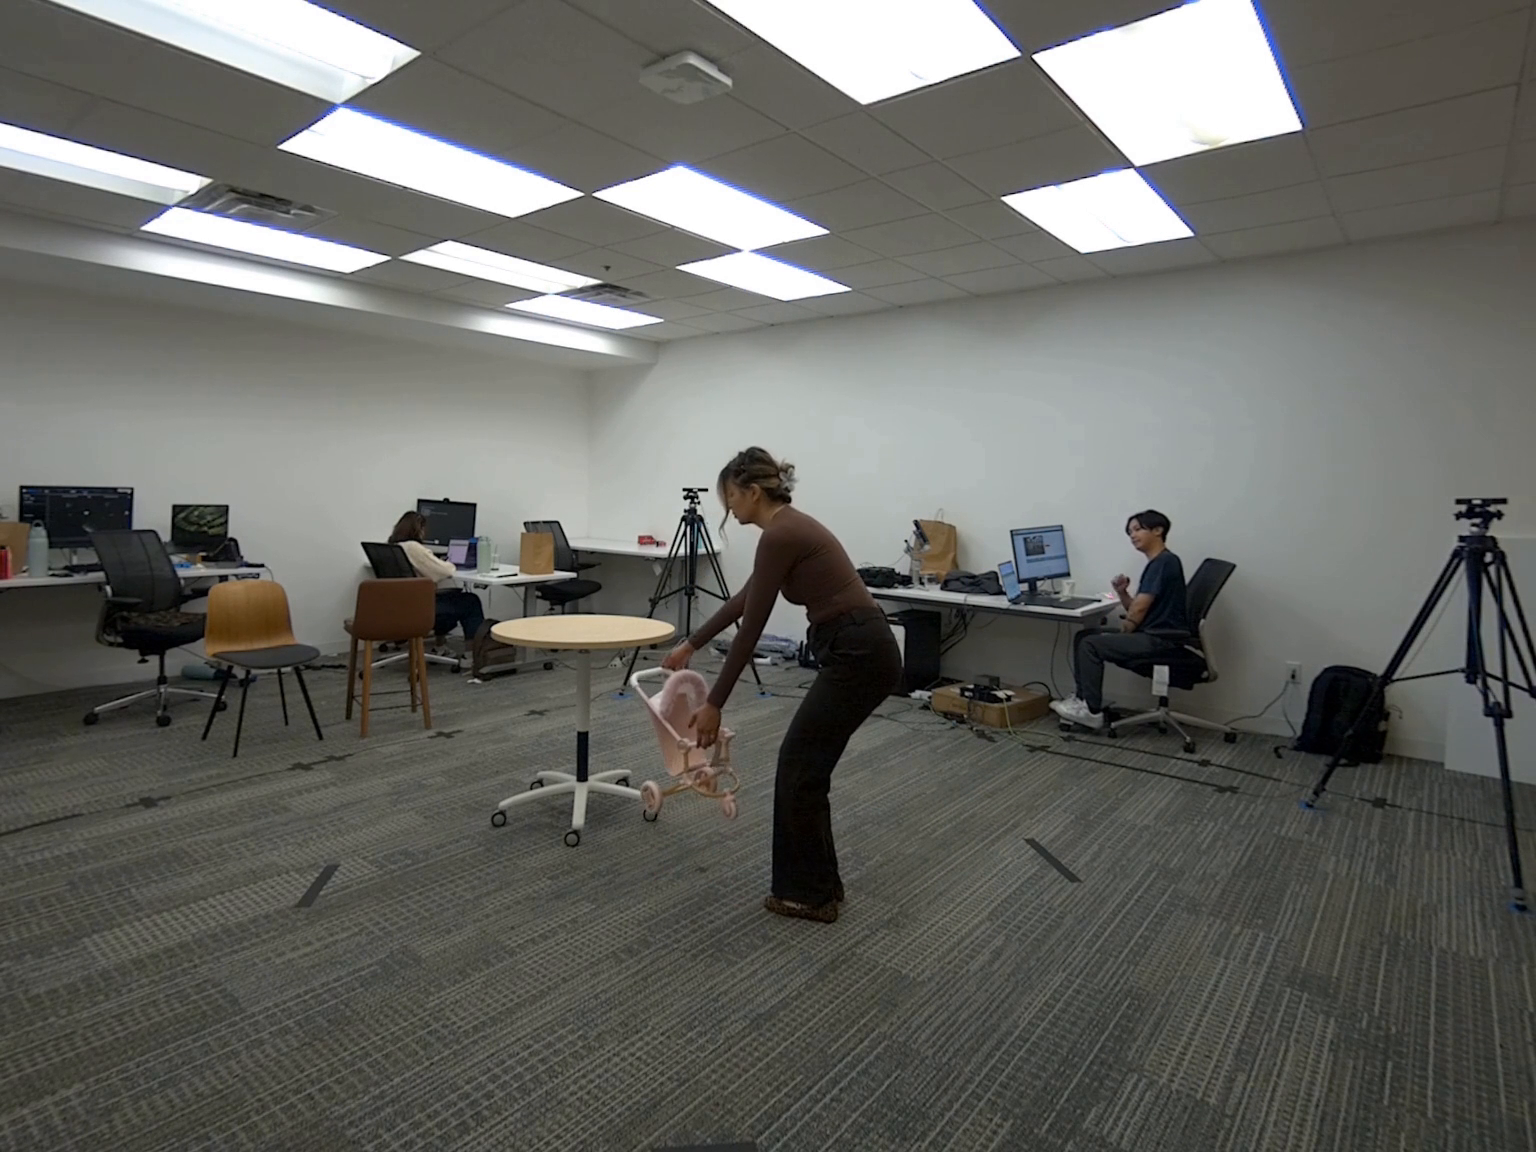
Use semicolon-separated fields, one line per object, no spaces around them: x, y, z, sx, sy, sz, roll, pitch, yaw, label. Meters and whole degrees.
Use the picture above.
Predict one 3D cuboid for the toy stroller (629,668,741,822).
-0.277;0.560;2.898;0.273;0.541;0.348;-2;-13;-40;toy stroller
